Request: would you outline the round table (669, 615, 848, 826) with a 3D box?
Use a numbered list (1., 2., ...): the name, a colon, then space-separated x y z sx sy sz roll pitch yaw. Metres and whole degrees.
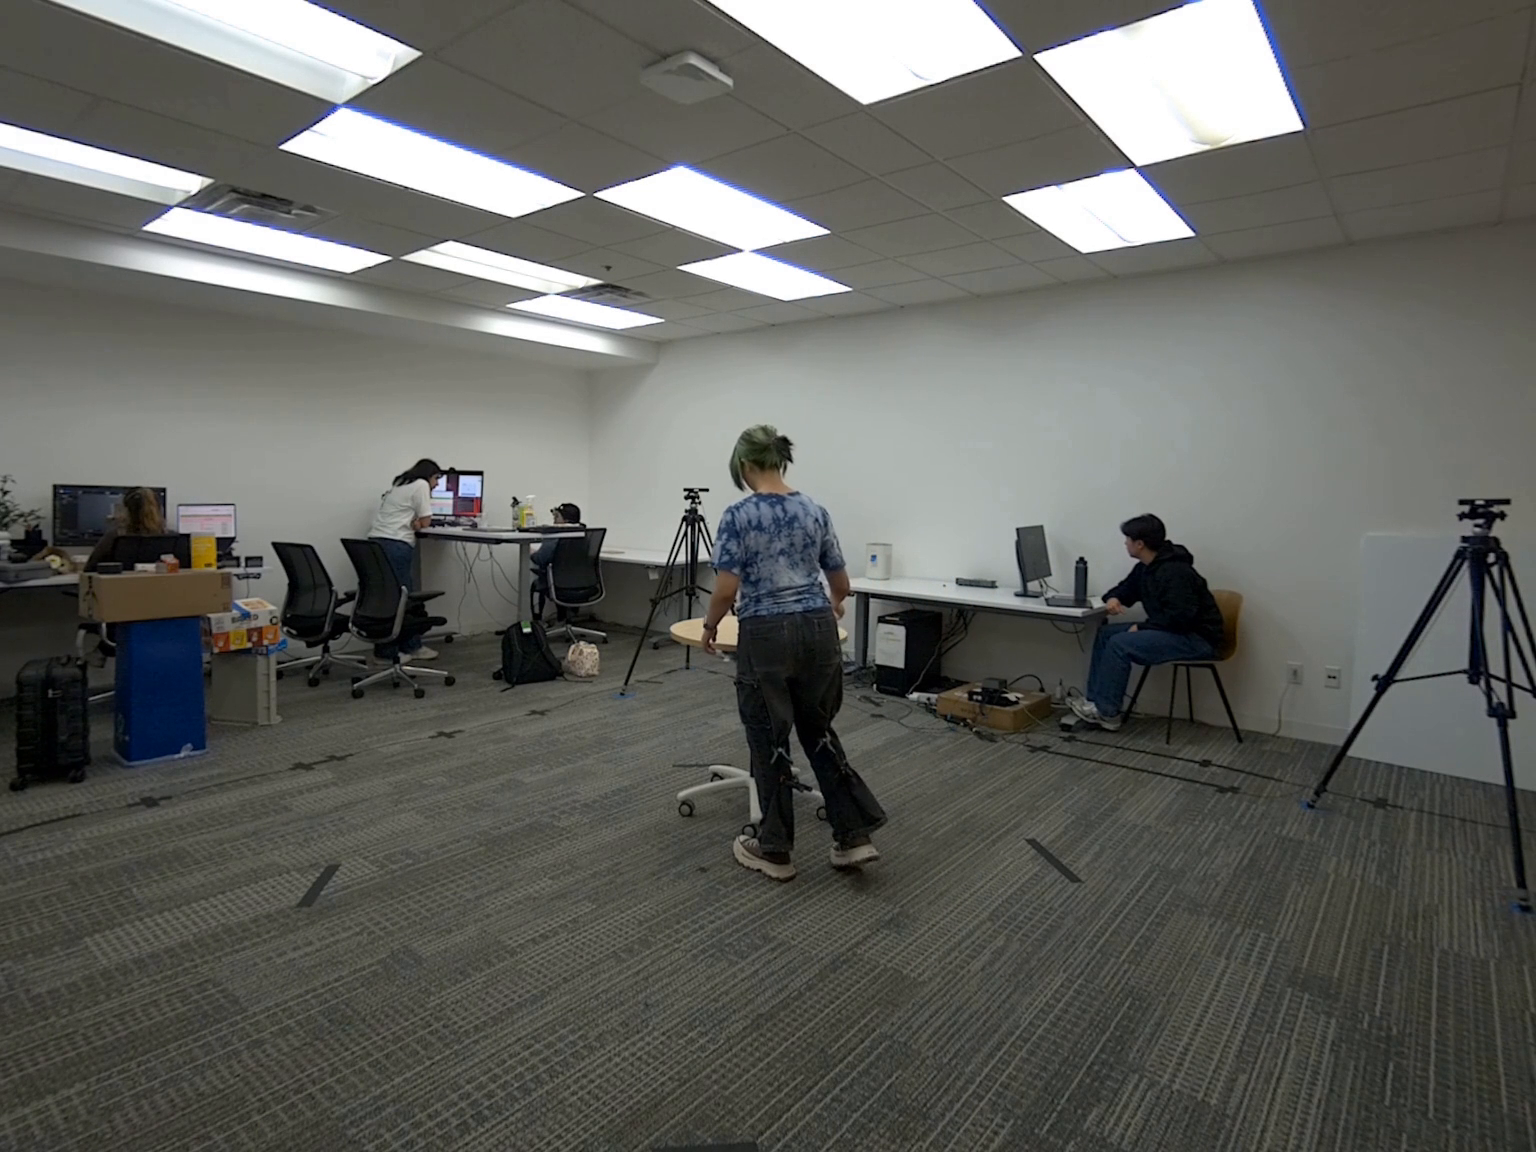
1. round table: -0.068 0.624 3.705 0.763 0.792 0.767 1 4 -2
